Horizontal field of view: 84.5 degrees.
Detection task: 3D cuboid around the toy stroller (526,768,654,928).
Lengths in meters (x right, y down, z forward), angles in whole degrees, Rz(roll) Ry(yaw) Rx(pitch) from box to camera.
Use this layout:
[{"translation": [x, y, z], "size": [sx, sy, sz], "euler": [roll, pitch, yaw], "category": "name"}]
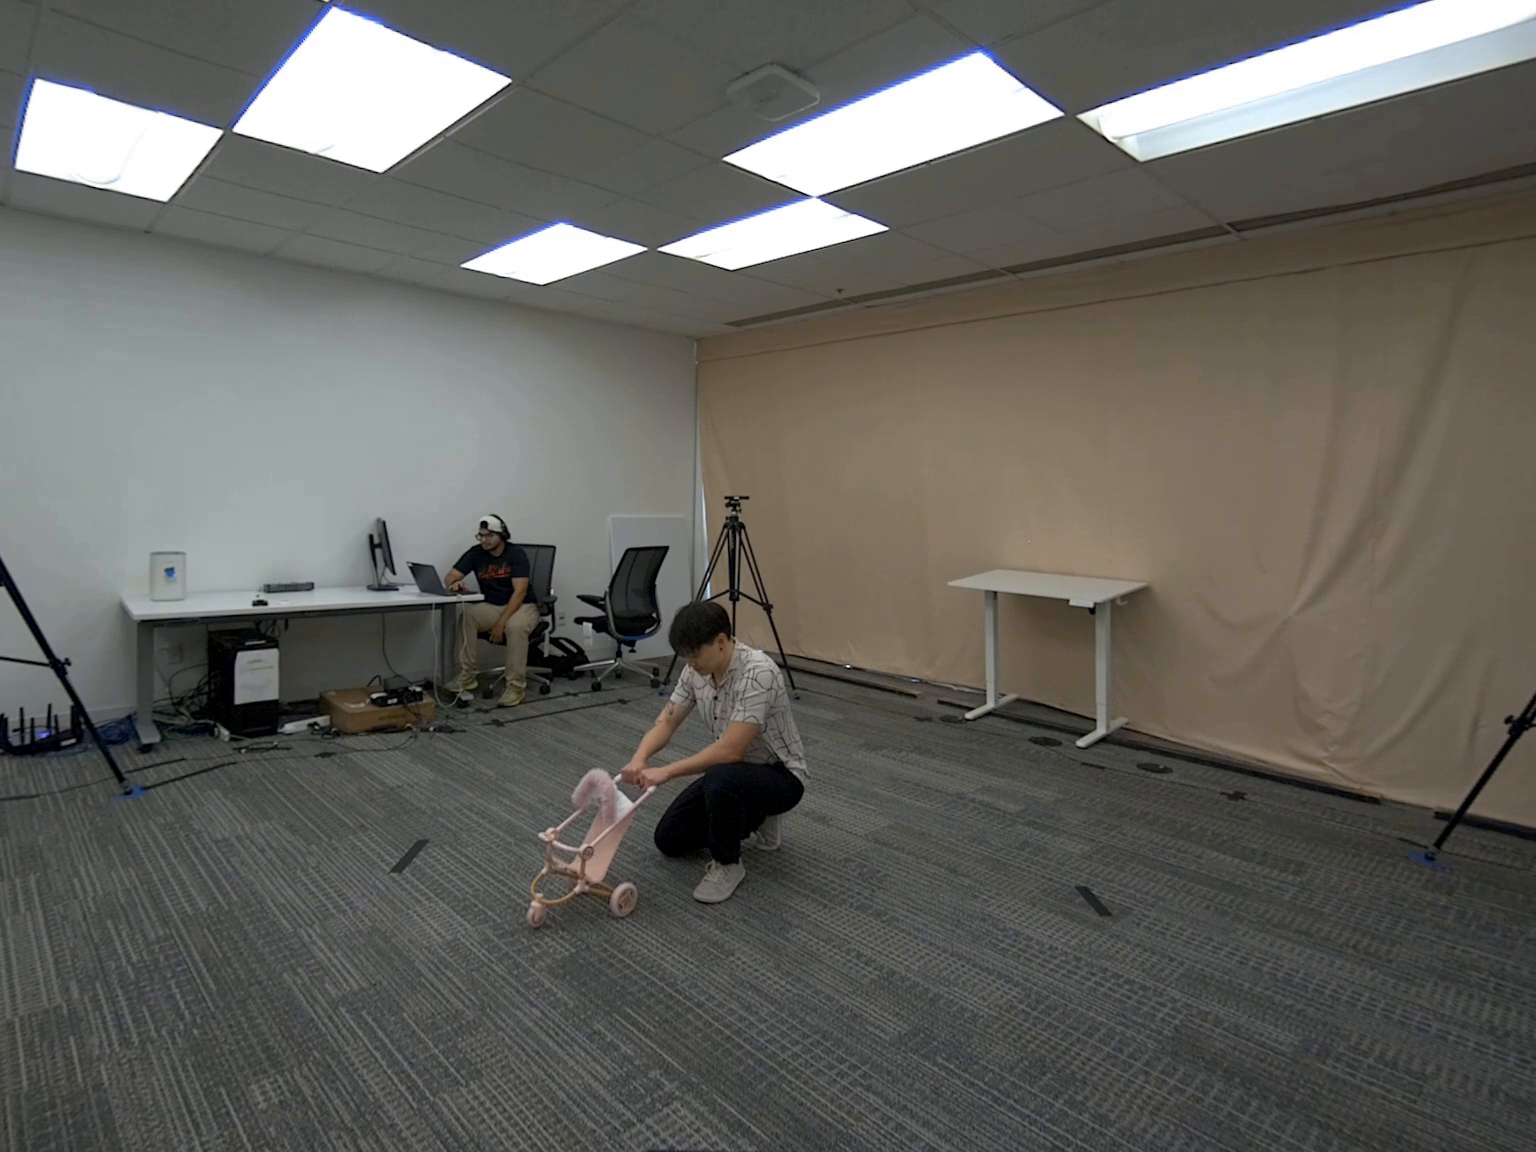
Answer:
[{"translation": [-0.605, 0.896, 2.824], "size": [0.288, 0.538, 0.331], "euler": [3, -17, 47], "category": "toy stroller"}]
